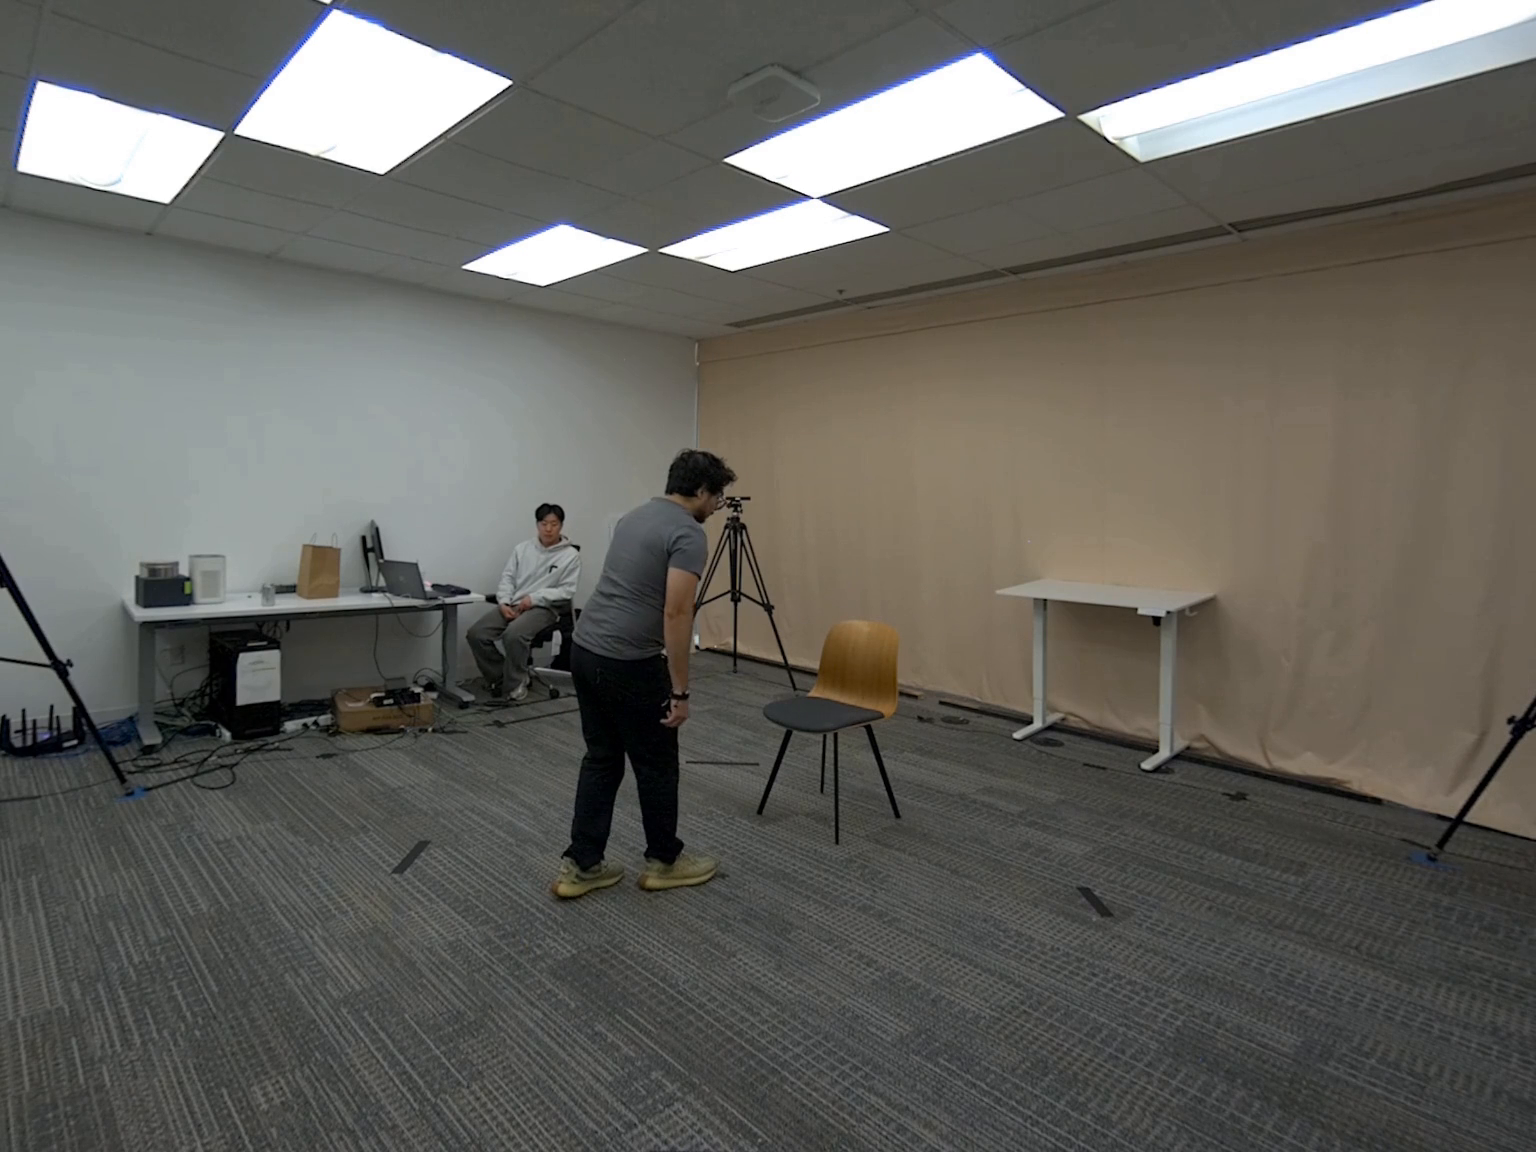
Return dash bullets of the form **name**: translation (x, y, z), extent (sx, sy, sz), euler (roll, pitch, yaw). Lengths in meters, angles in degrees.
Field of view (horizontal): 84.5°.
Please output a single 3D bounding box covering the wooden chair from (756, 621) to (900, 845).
- **wooden chair**: translation (0.267, 0.638, 3.690), extent (0.490, 0.877, 0.510), euler (4, 0, 44)
